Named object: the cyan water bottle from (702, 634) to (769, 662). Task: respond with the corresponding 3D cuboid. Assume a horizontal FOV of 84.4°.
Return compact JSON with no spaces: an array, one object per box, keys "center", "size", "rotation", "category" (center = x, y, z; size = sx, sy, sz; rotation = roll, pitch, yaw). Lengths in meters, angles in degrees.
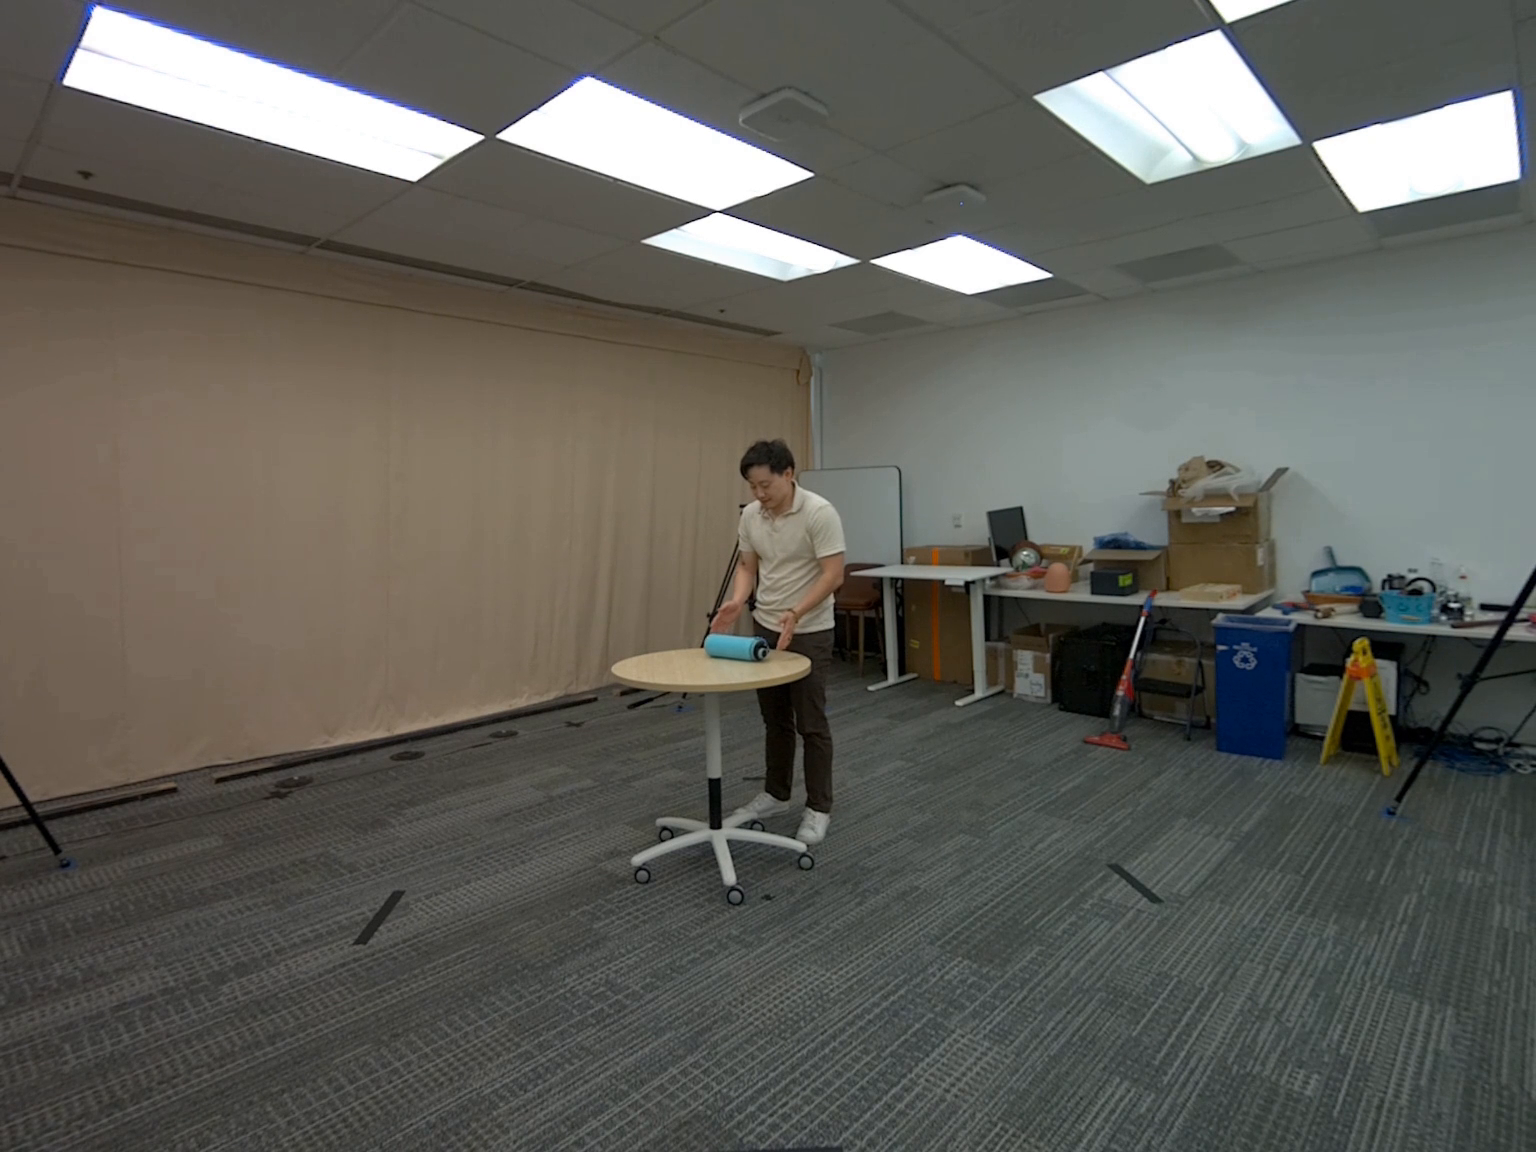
[{"center":[-0.119,0.280,3.325],"size":[0.292,0.092,0.089],"rotation":[1,4,38],"category":"cyan water bottle"}]
